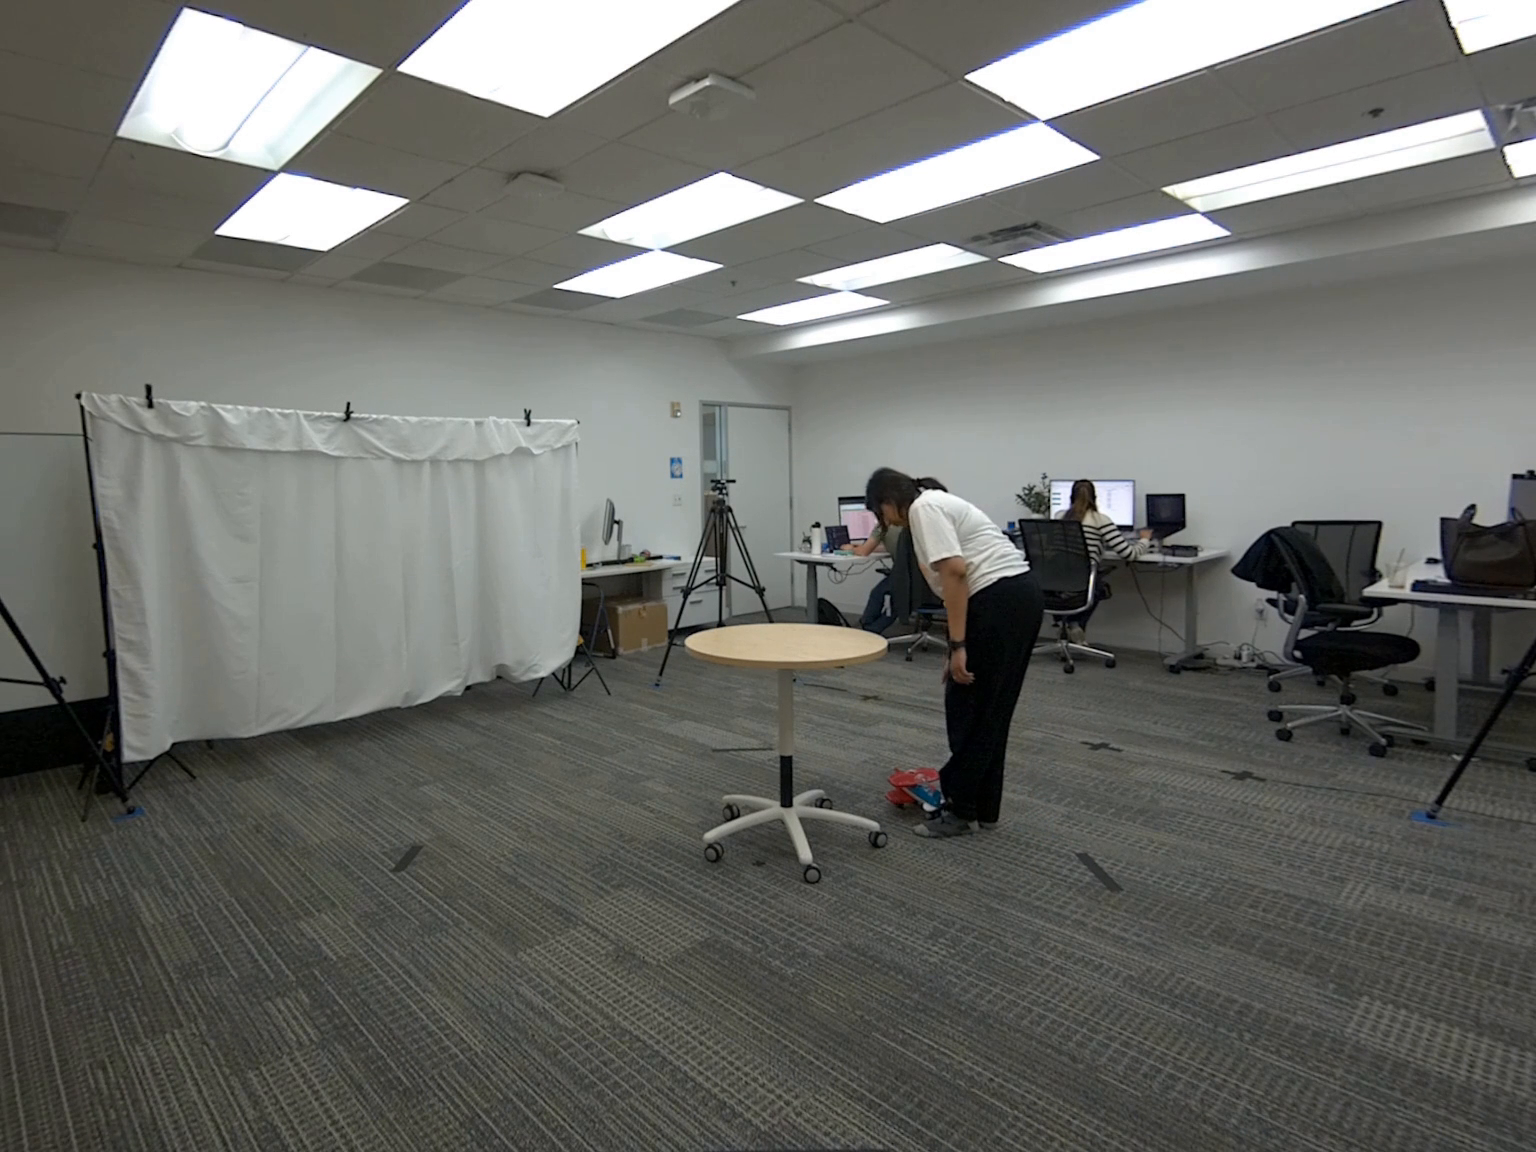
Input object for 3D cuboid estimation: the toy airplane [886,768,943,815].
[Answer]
[{"bbox_3d":[0.654,0.911,3.581,0.266,0.156,0.245,0,3,36],"label":"toy airplane"}]
